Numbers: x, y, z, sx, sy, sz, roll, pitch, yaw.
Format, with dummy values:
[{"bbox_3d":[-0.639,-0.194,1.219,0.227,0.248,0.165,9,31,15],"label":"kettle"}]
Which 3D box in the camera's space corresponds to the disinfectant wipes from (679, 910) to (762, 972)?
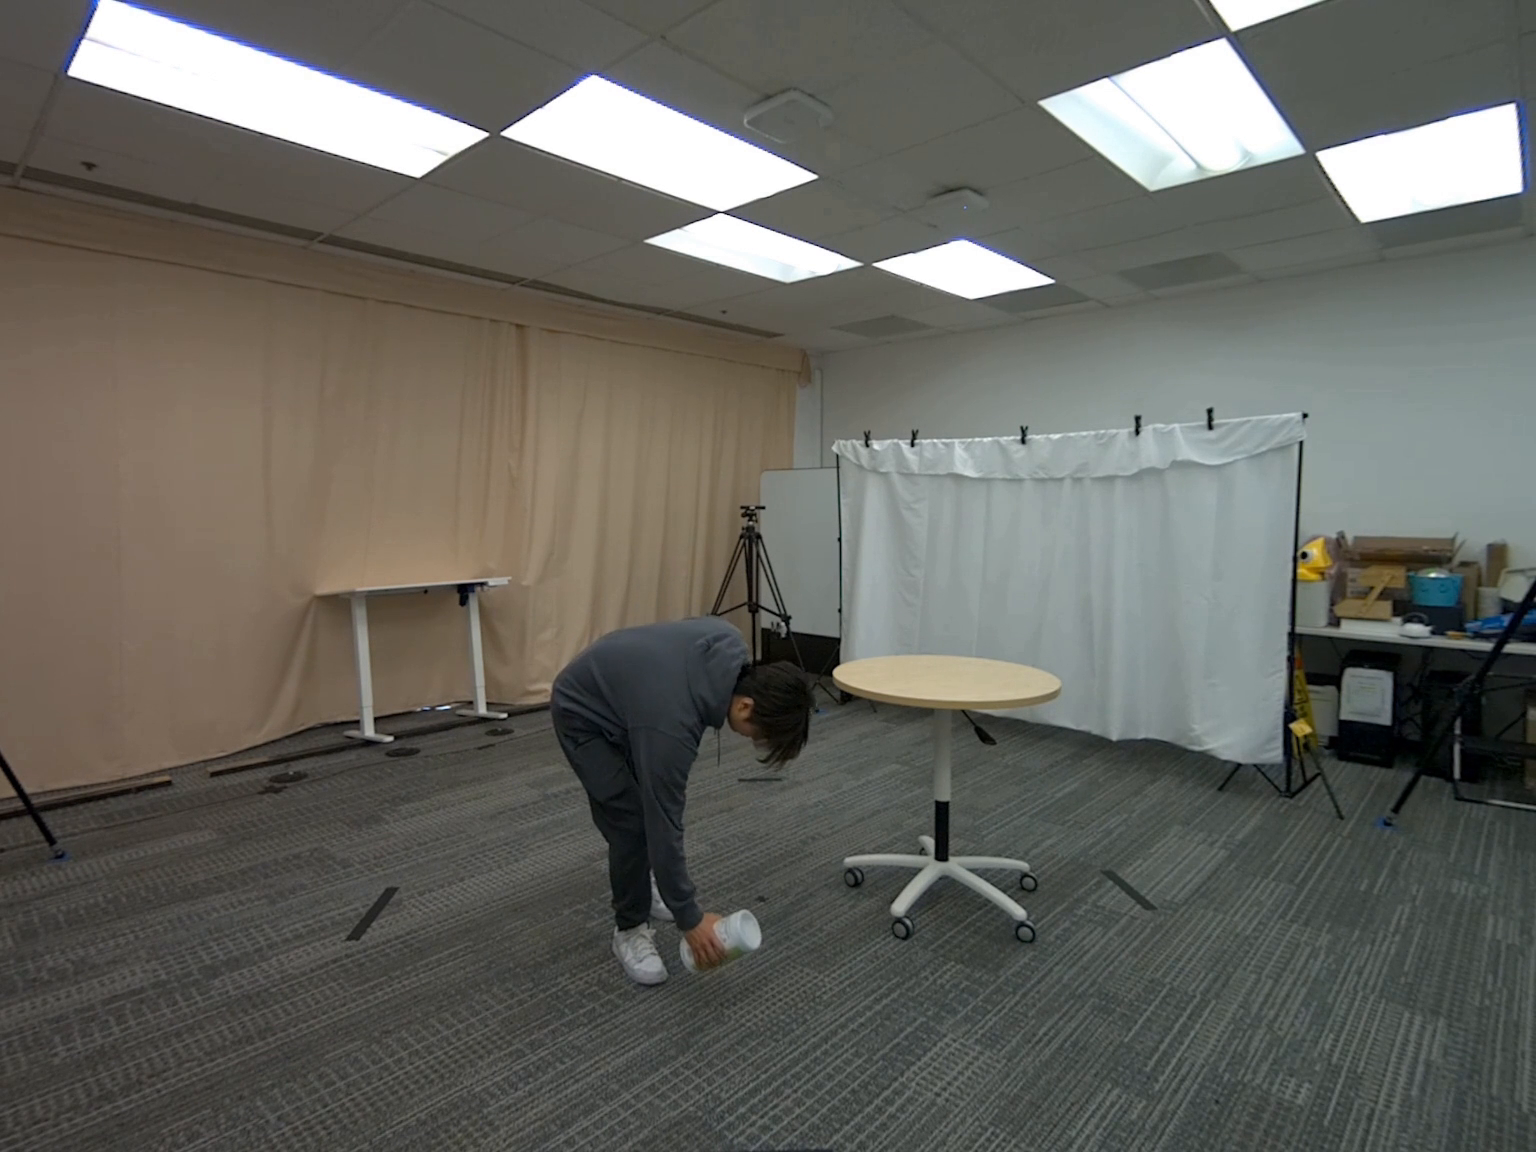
[{"bbox_3d":[-0.129,1.026,2.353,0.220,0.119,0.115,-33,-9,20],"label":"disinfectant wipes"}]
